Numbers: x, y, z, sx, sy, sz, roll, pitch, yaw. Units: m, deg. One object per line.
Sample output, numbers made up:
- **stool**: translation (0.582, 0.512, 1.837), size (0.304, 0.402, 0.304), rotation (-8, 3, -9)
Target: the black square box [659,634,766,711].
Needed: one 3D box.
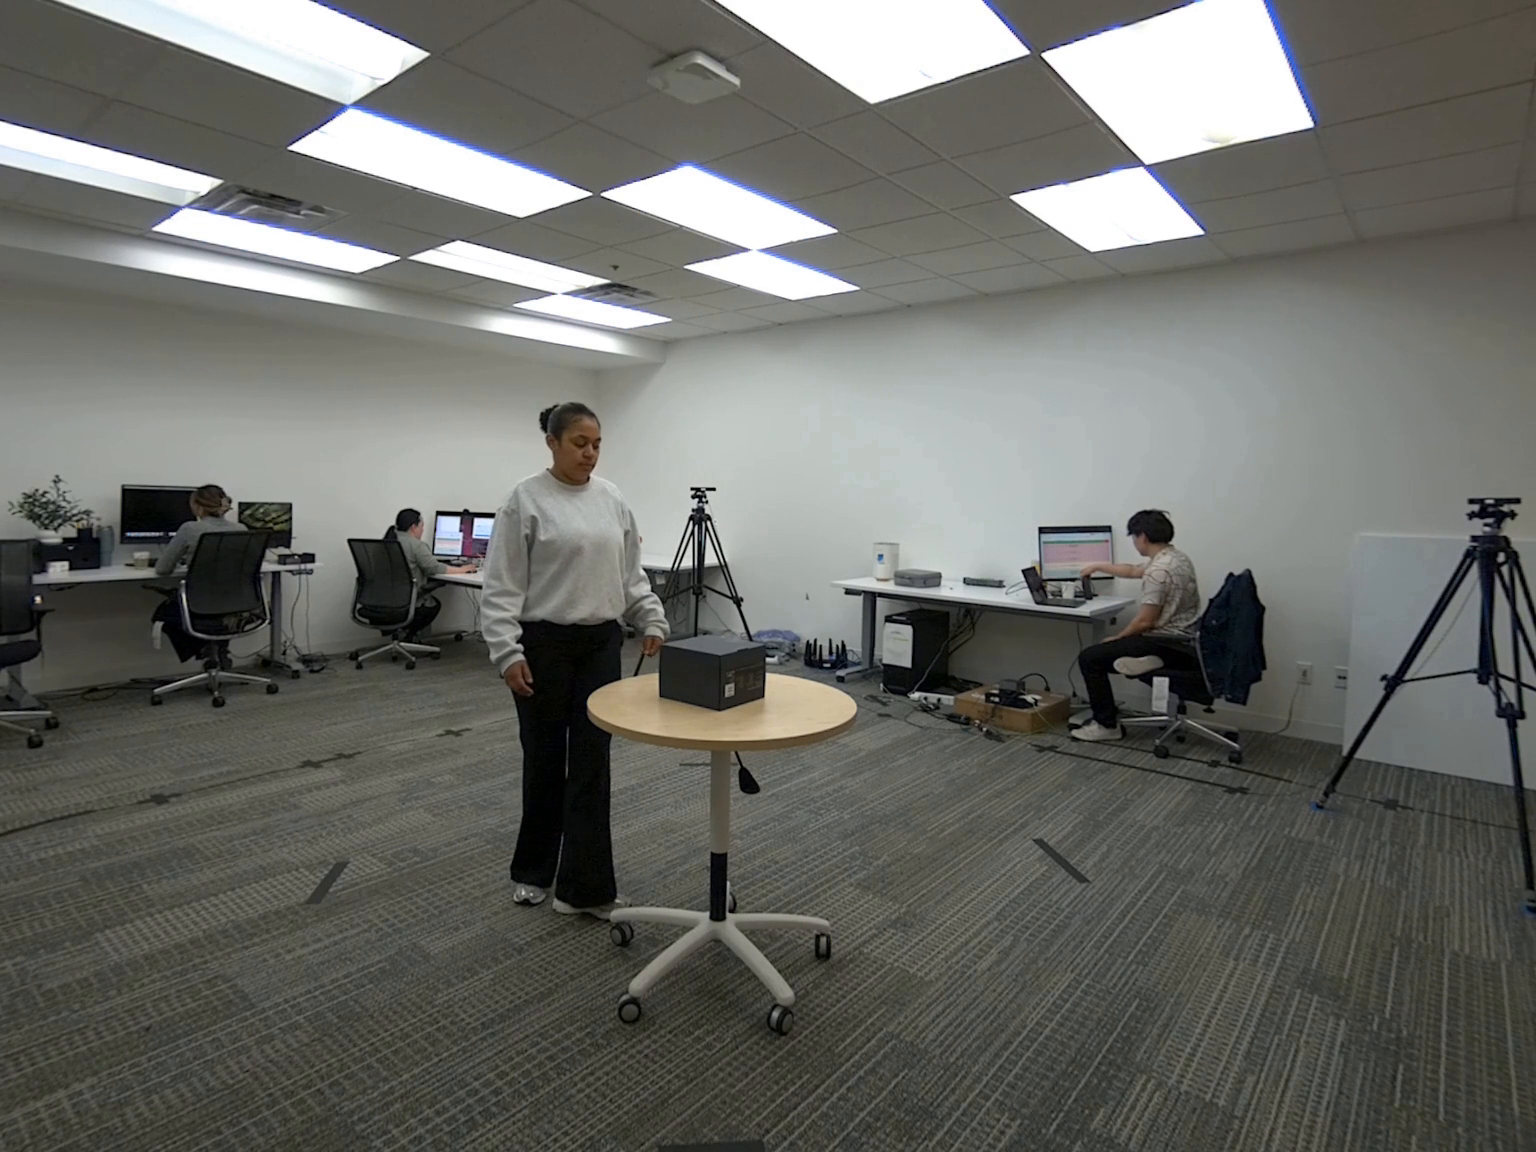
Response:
- **black square box**: translation (-0.165, 0.270, 2.459), size (0.235, 0.155, 0.211), rotation (5, 6, 38)
